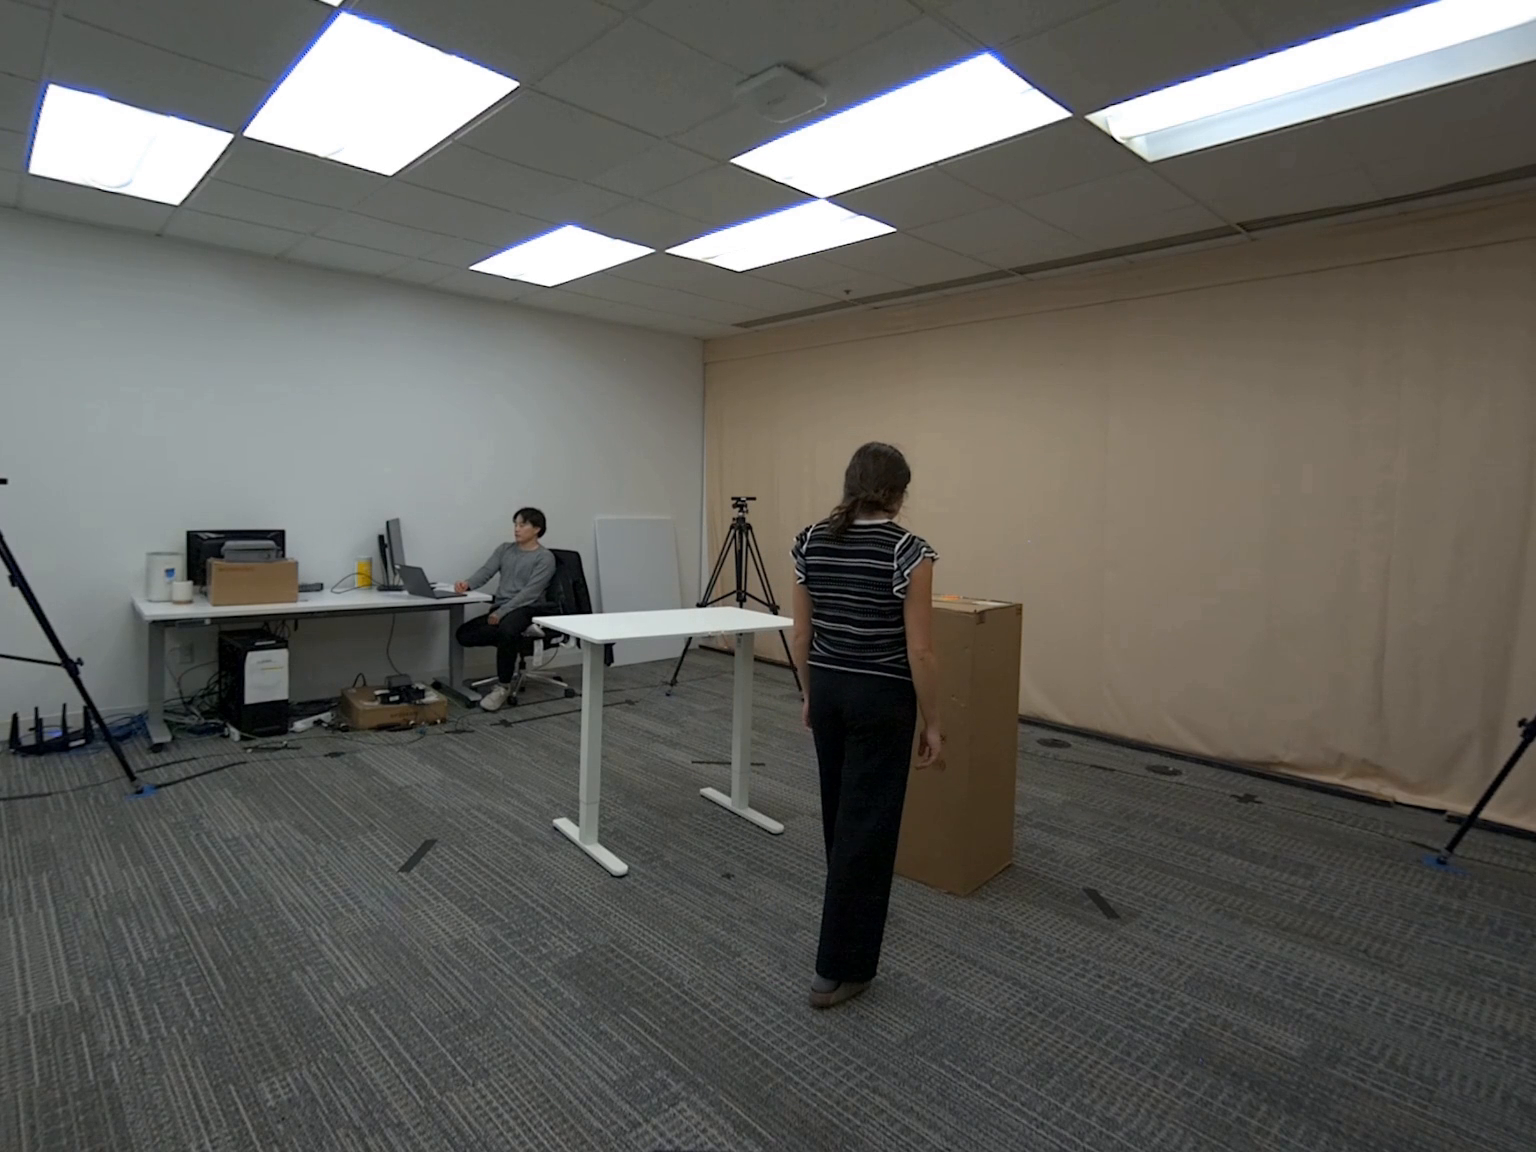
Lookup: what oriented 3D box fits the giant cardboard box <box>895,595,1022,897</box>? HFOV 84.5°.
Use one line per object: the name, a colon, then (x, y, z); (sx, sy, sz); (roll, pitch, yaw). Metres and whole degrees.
giant cardboard box: (0.614, 0.600, 3.293); (0.592, 1.024, 0.416); (4, 4, 40)
